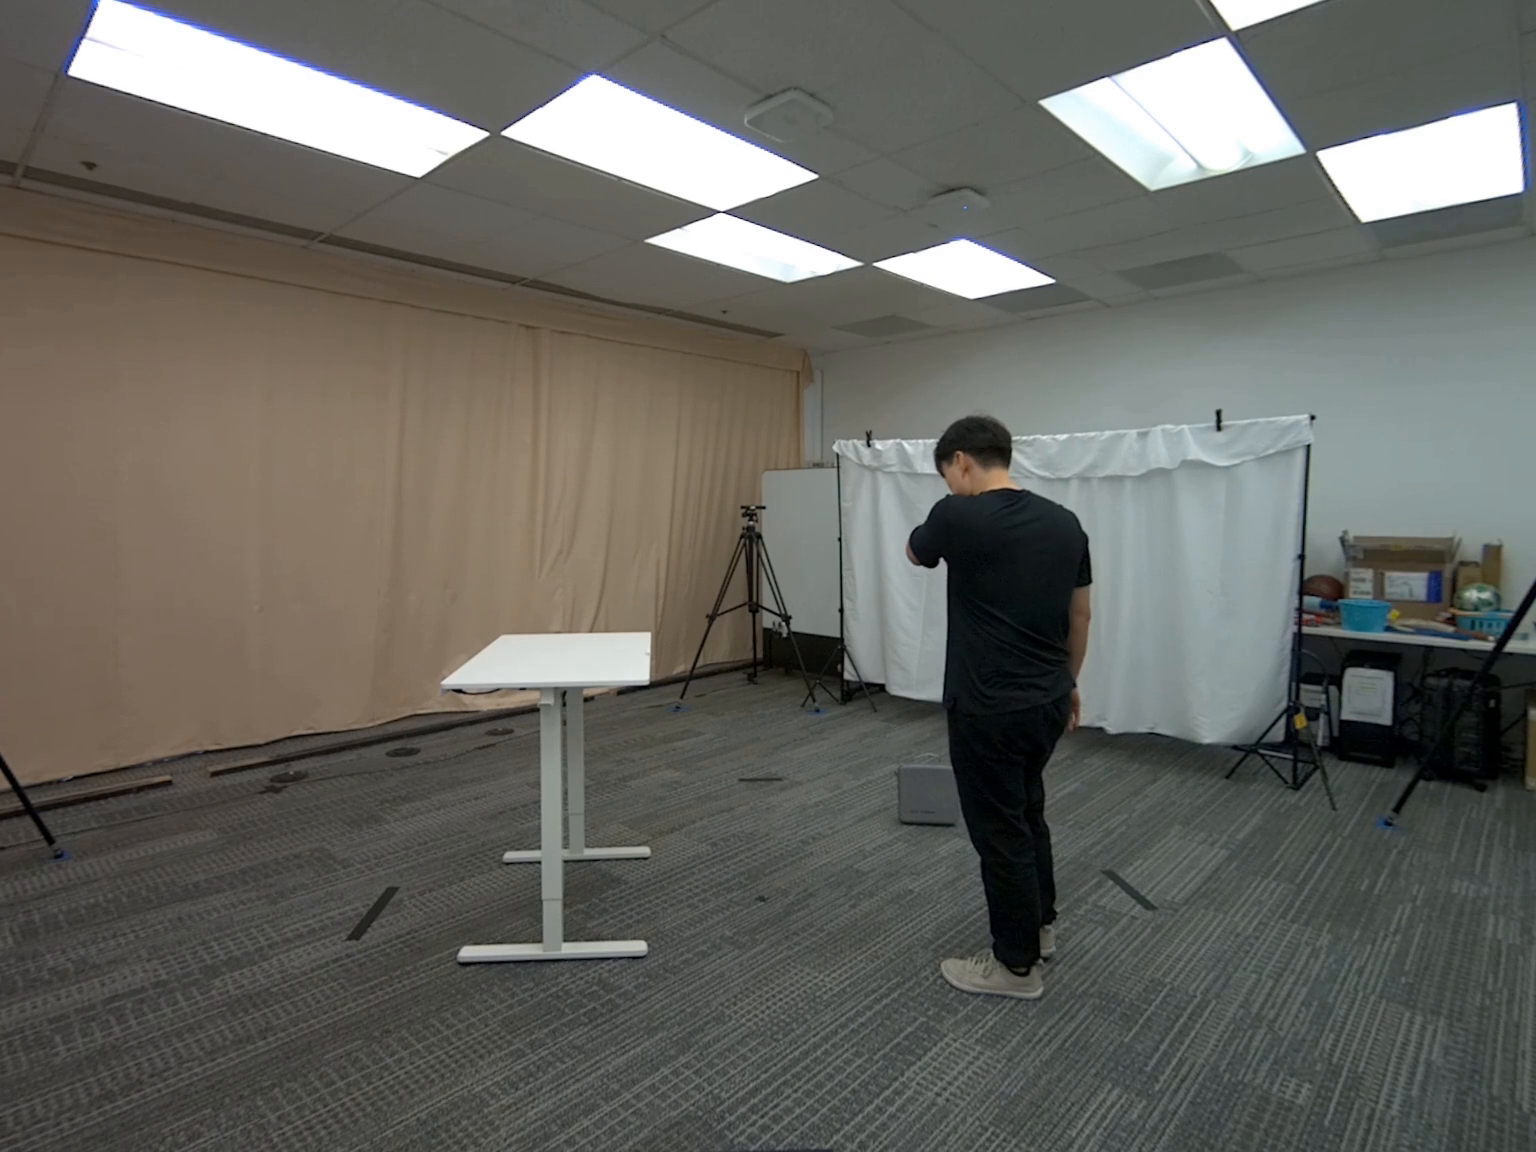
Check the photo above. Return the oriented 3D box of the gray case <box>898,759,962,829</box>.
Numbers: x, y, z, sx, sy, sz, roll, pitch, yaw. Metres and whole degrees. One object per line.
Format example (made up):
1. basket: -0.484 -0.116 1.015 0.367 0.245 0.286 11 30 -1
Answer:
1. gray case: 0.705 0.948 3.708 0.259 0.261 0.103 1 -5 7
